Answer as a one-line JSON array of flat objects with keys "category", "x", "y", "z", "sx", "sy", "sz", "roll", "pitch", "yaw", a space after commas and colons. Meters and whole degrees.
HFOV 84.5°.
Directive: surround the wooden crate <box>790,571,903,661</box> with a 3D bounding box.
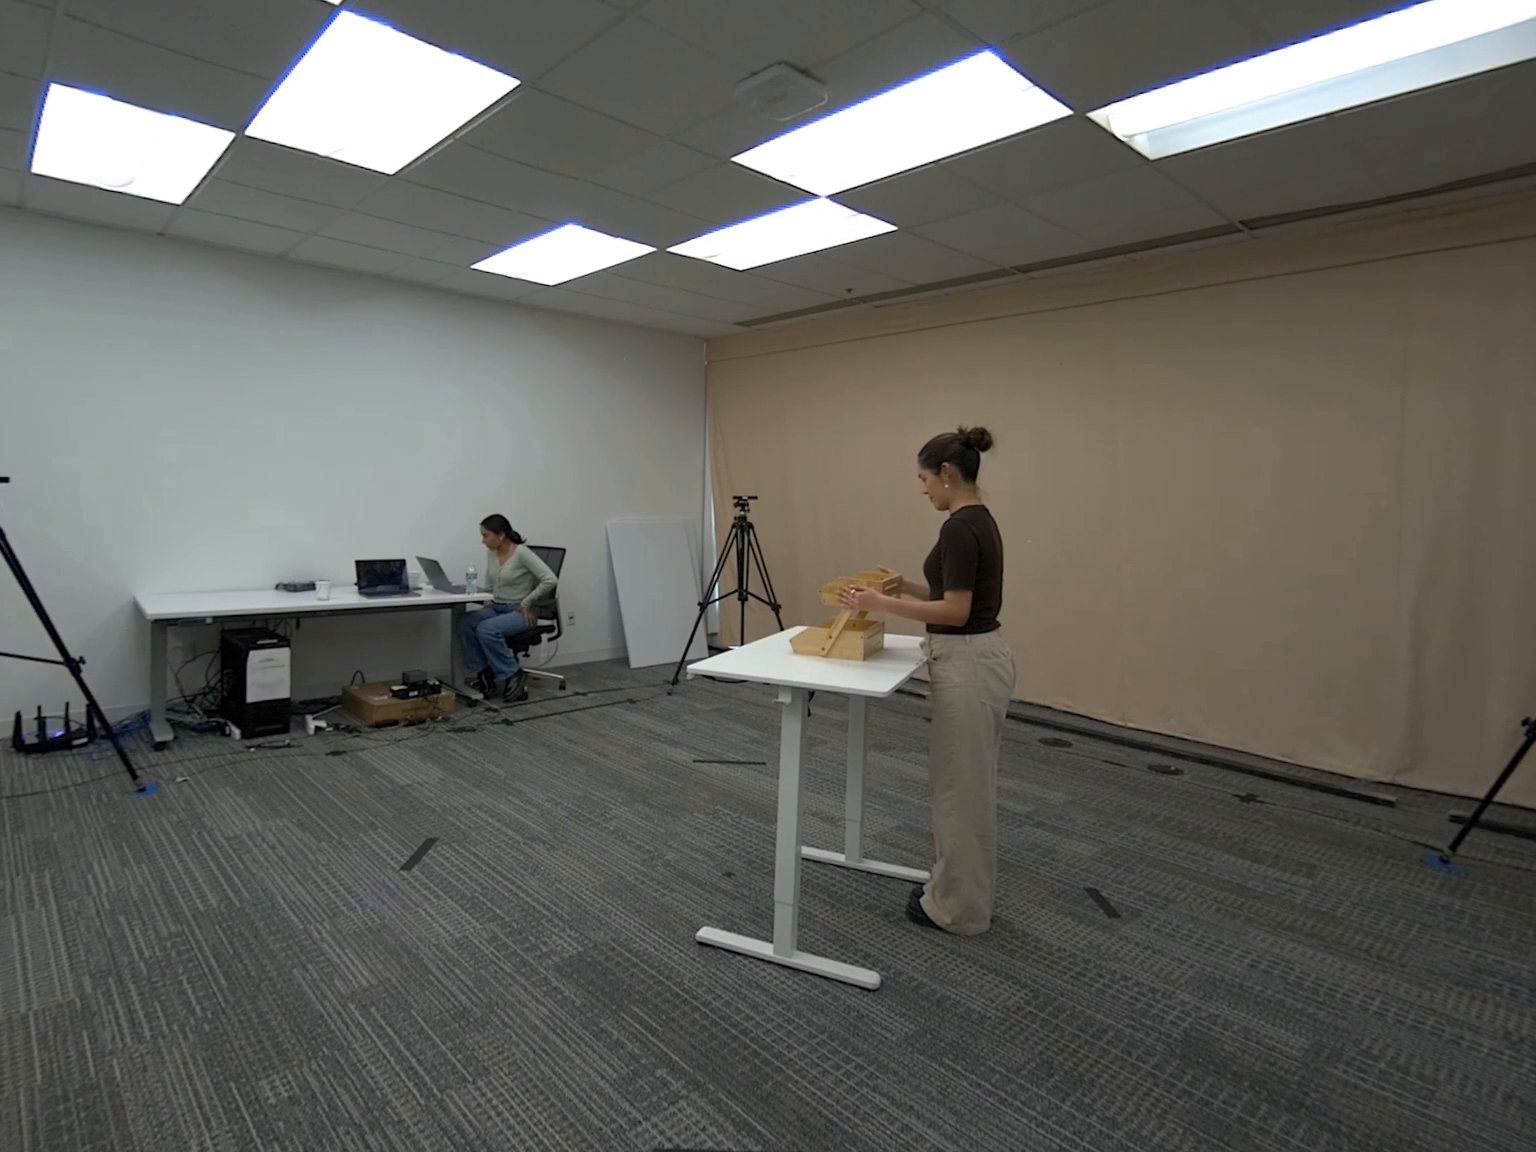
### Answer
[{"category": "wooden crate", "x": 0.262, "y": 0.121, "z": 2.841, "sx": 0.307, "sy": 0.272, "sz": 0.320, "roll": 5, "pitch": 5, "yaw": 20}]
